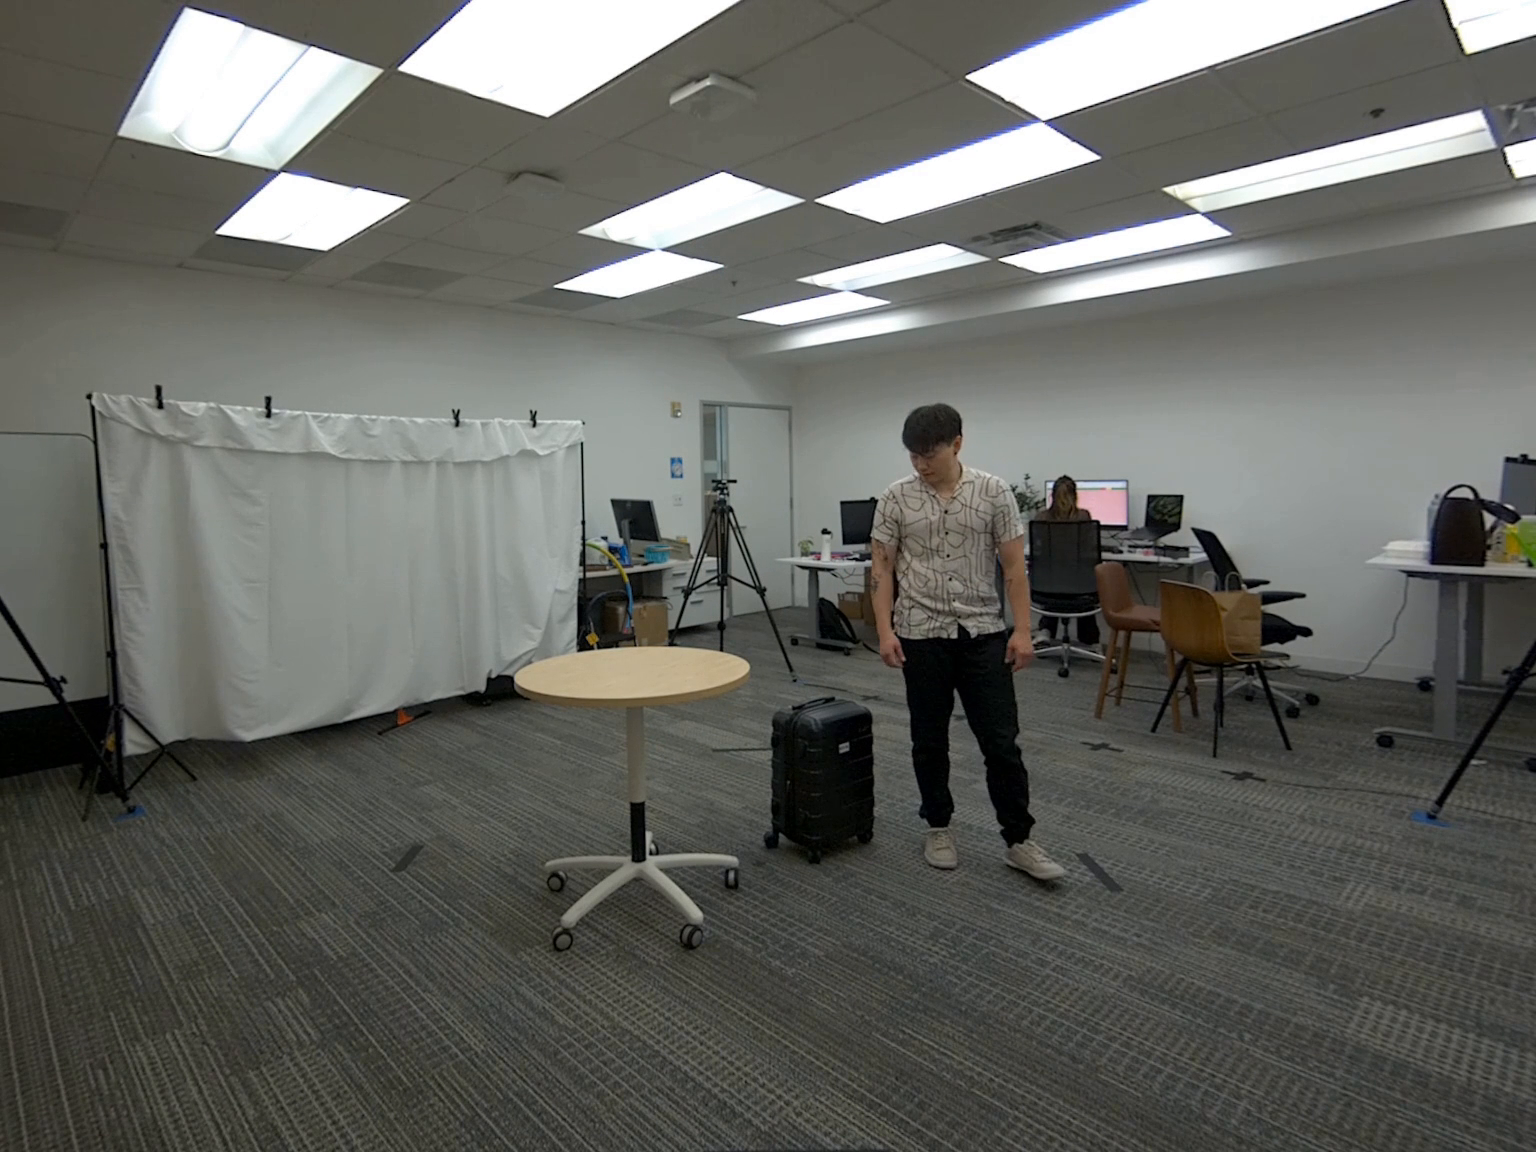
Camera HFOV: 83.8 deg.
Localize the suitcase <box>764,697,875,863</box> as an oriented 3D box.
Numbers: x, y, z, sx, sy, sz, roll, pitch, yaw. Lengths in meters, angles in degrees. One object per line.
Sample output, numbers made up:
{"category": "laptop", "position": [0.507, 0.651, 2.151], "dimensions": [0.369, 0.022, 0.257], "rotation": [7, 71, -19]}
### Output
{"category": "suitcase", "position": [0.212, 0.751, 3.254], "dimensions": [0.365, 0.547, 0.256], "rotation": [-3, 6, -40]}
